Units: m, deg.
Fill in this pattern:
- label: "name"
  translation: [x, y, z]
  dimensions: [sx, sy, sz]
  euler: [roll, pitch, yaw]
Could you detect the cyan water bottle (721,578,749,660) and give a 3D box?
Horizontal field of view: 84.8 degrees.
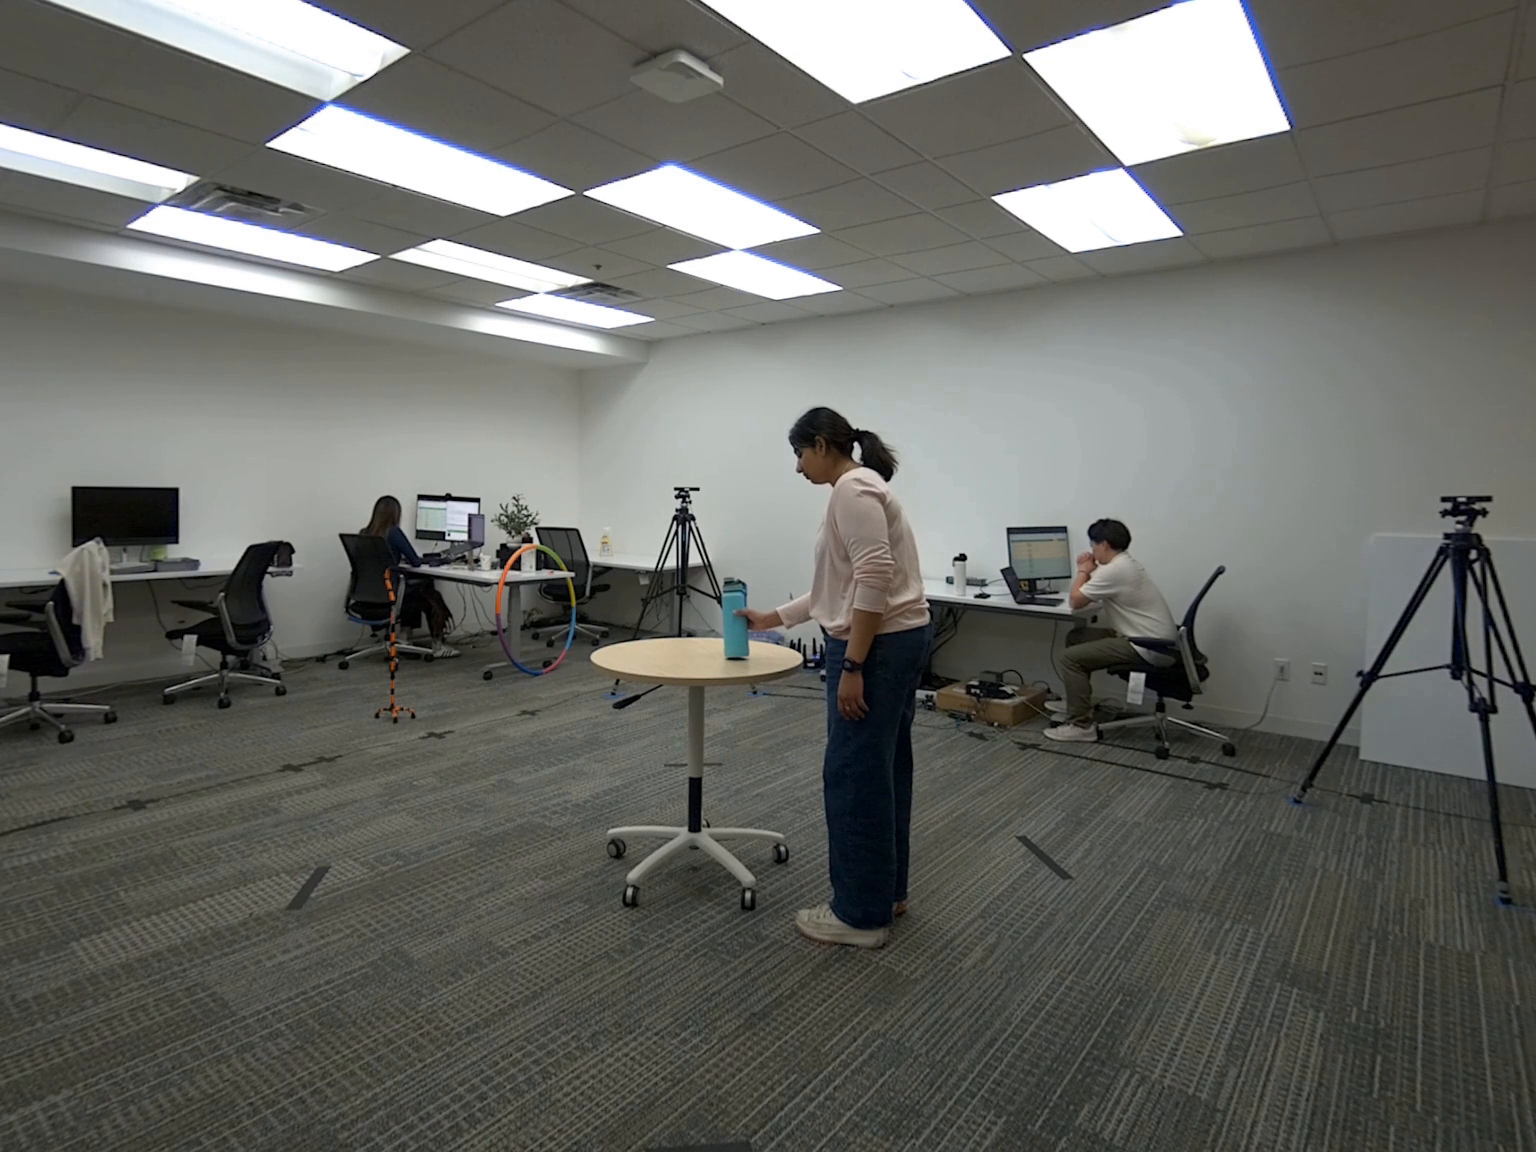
- label: "cyan water bottle"
  translation: [-0.122, 0.148, 3.032]
  dimensions: [0.092, 0.285, 0.092]
  euler: [1, -5, -2]
